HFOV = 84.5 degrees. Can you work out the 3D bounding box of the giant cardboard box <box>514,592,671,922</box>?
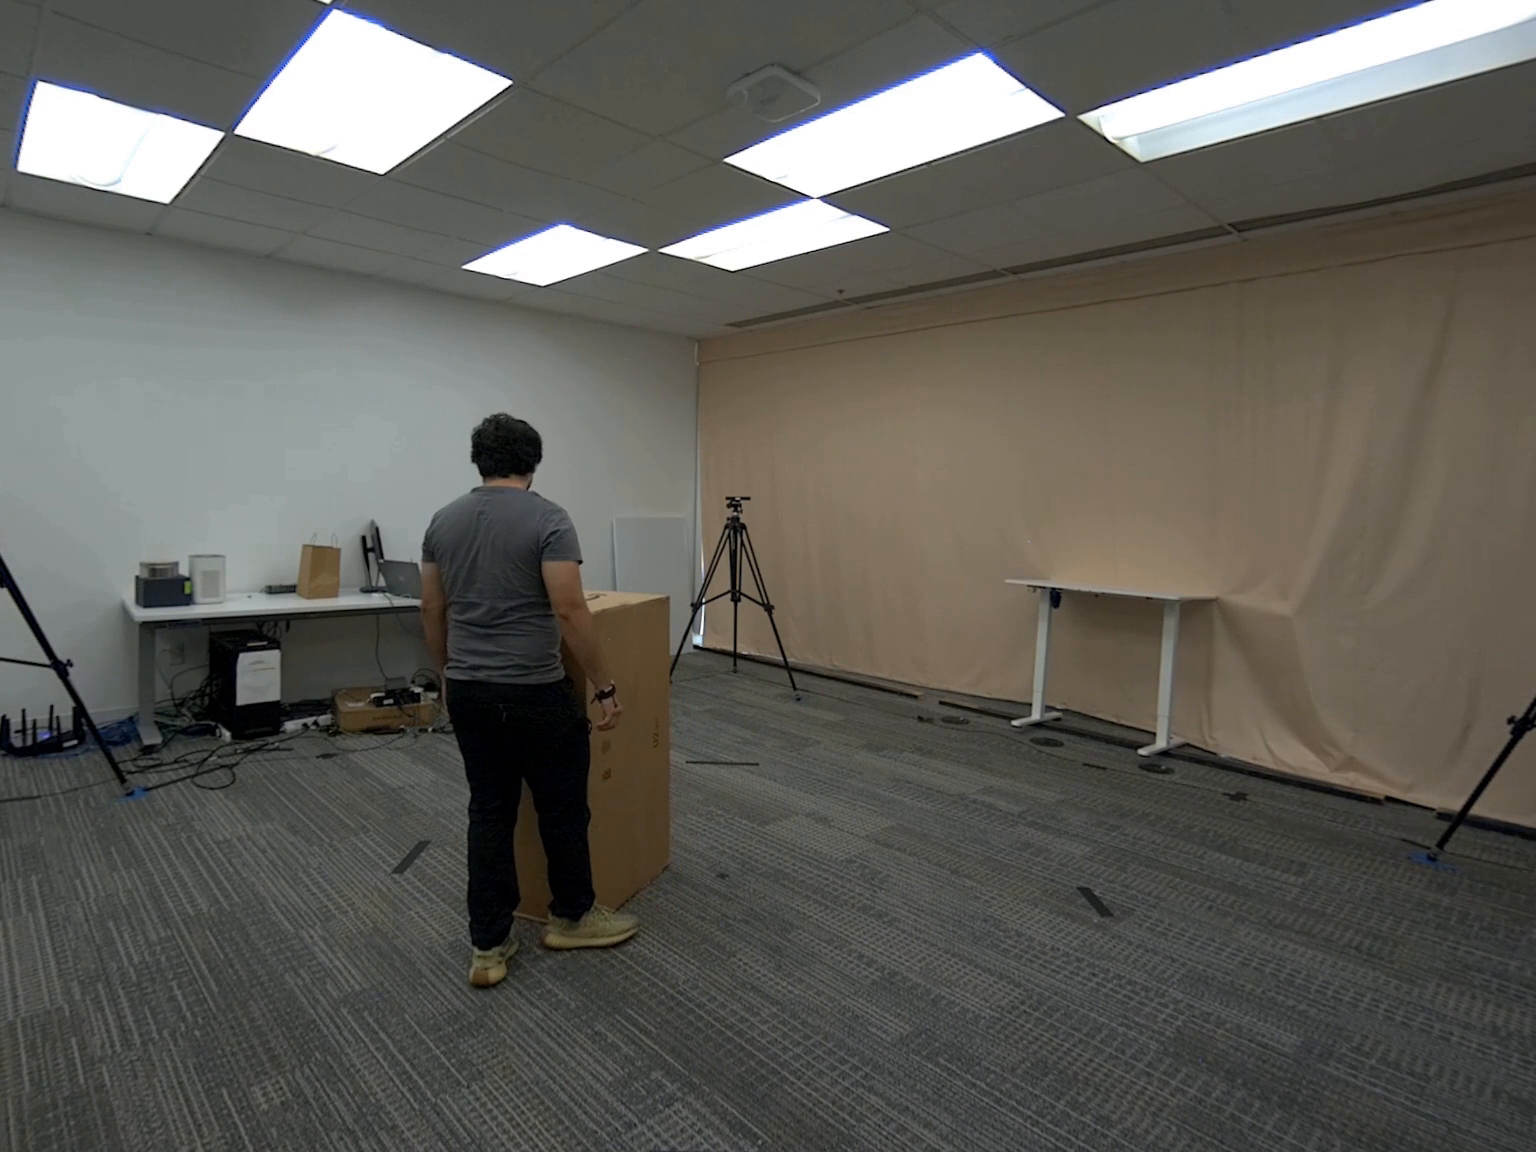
[{"bbox_3d":[-0.665,0.599,2.985,0.454,1.024,0.575,3,4,21],"label":"giant cardboard box"}]
